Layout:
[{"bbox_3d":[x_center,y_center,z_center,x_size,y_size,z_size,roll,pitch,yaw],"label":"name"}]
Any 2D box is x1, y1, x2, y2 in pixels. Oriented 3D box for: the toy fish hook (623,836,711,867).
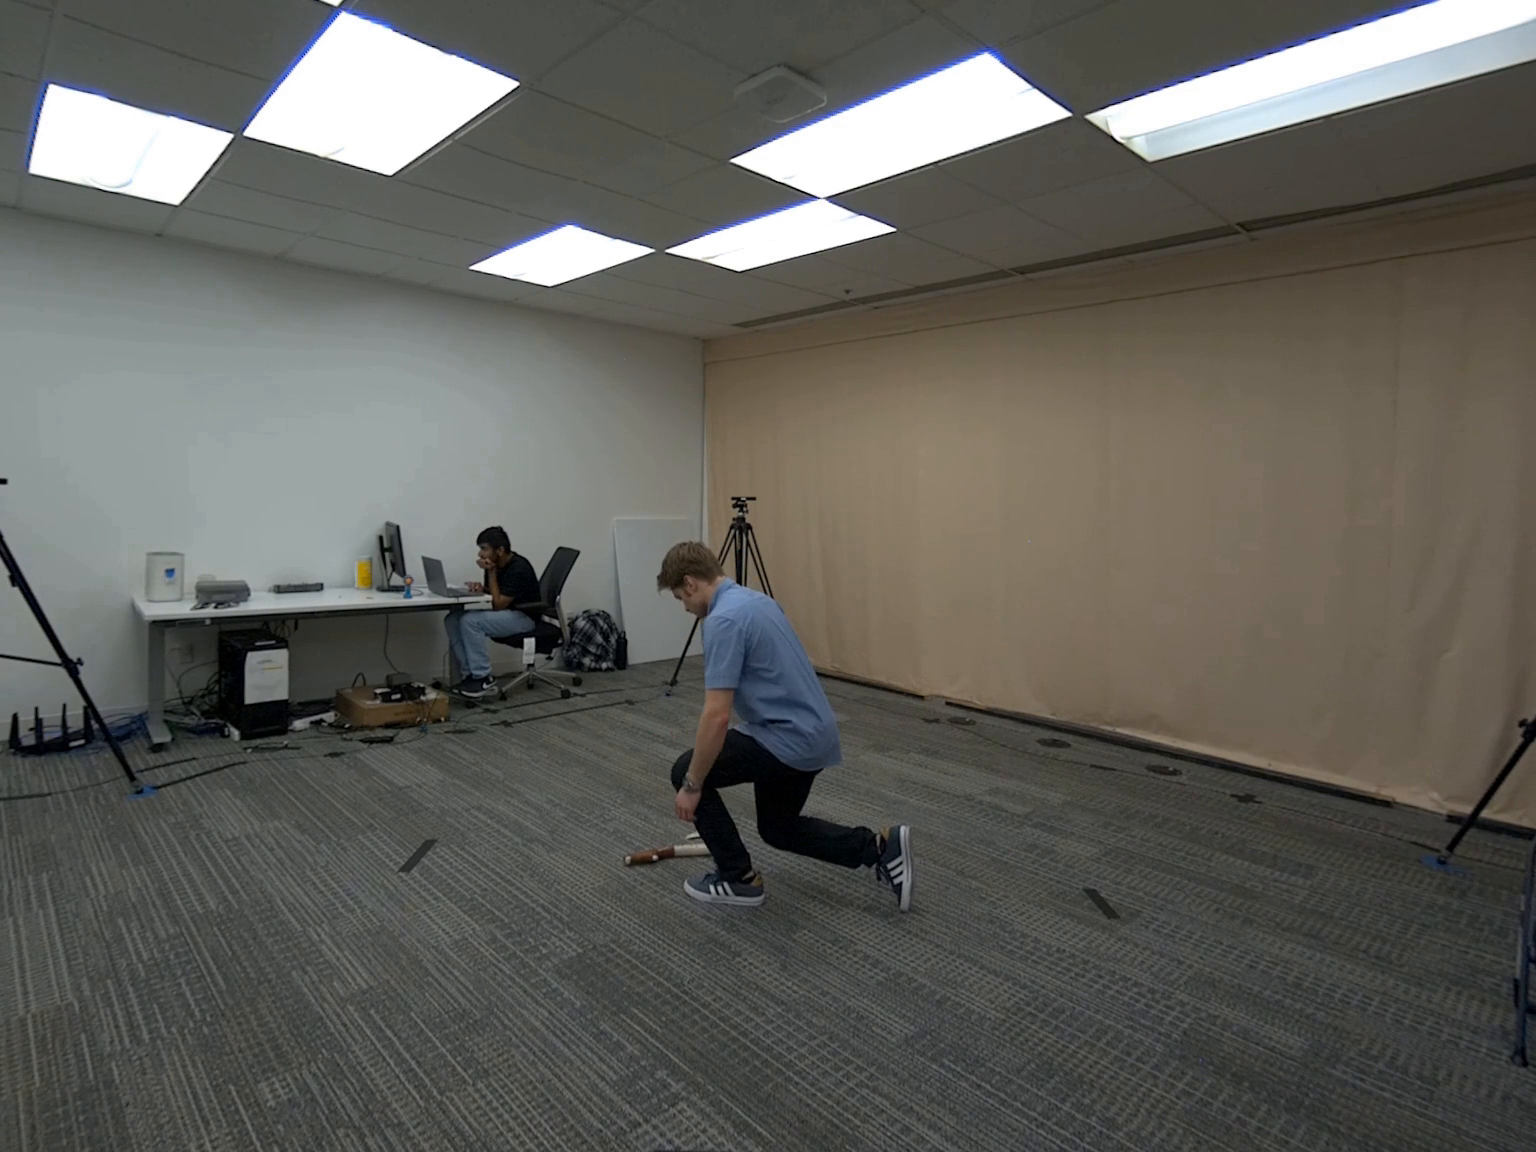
[{"bbox_3d":[-0.353,1.071,3.321,0.497,0.048,0.228,-1,-2,-27],"label":"toy fish hook"}]
